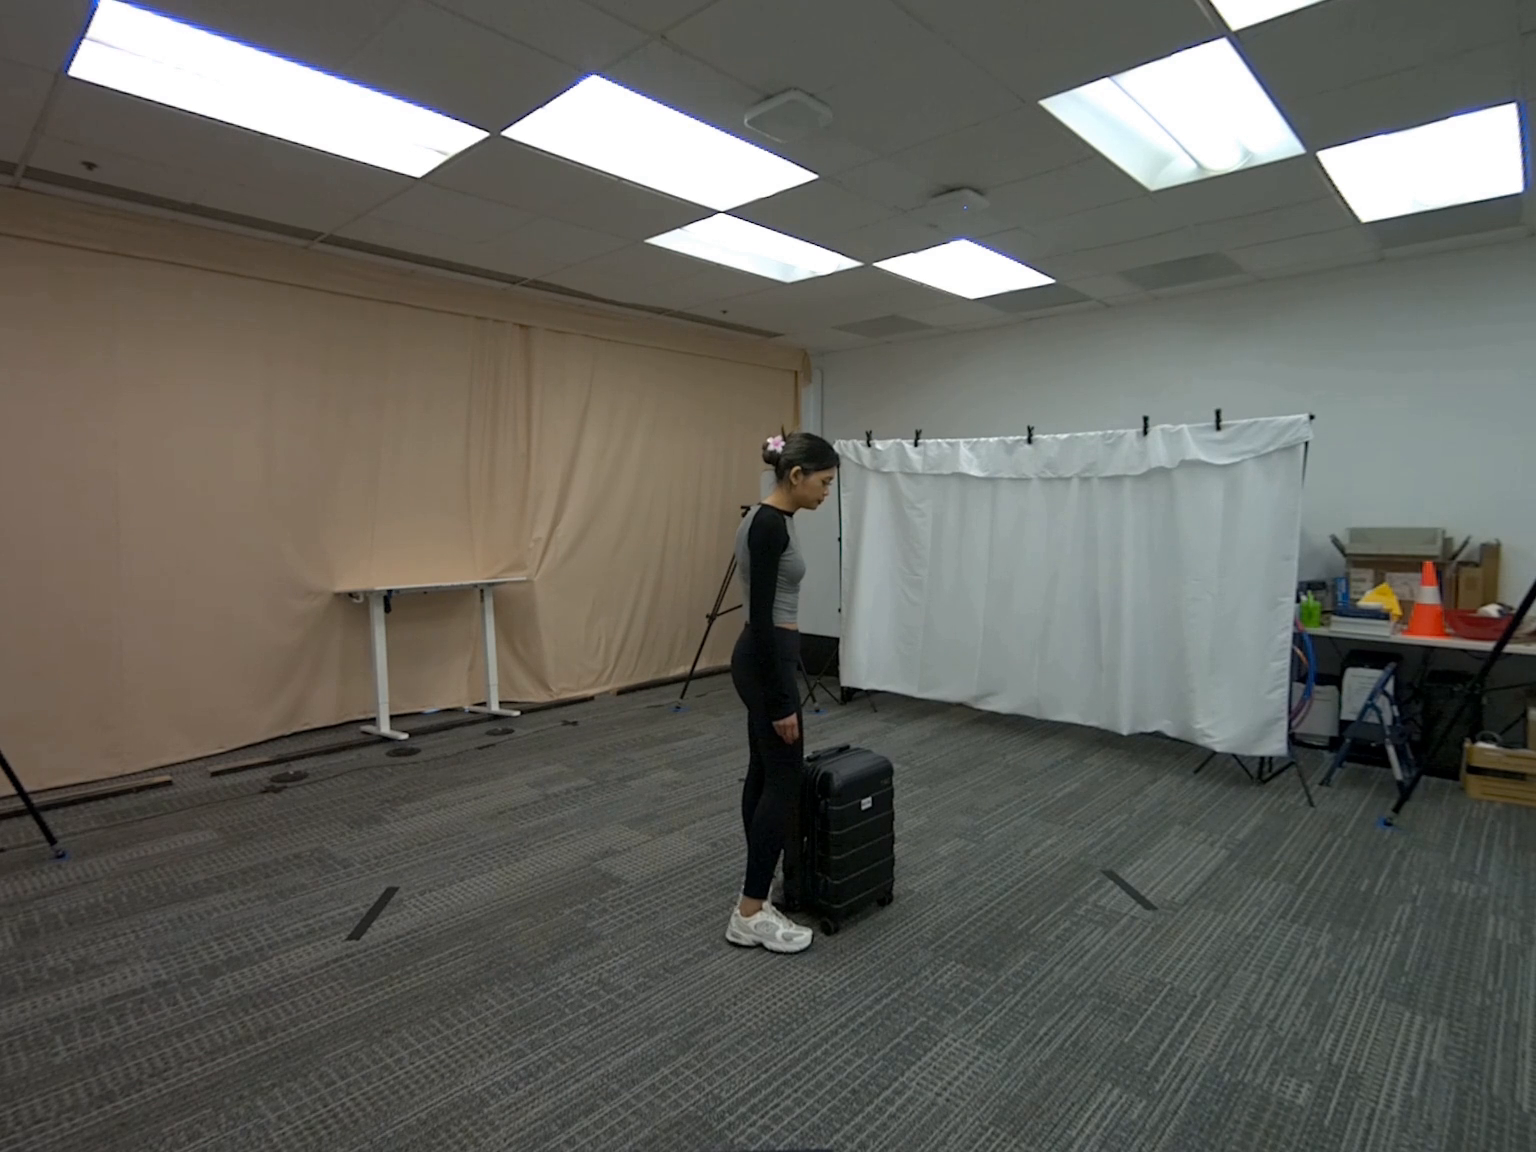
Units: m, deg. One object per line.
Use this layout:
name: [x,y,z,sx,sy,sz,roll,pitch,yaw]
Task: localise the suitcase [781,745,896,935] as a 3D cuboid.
suitcase: [0.255,0.876,2.890,0.257,0.548,0.364,6,7,45]
